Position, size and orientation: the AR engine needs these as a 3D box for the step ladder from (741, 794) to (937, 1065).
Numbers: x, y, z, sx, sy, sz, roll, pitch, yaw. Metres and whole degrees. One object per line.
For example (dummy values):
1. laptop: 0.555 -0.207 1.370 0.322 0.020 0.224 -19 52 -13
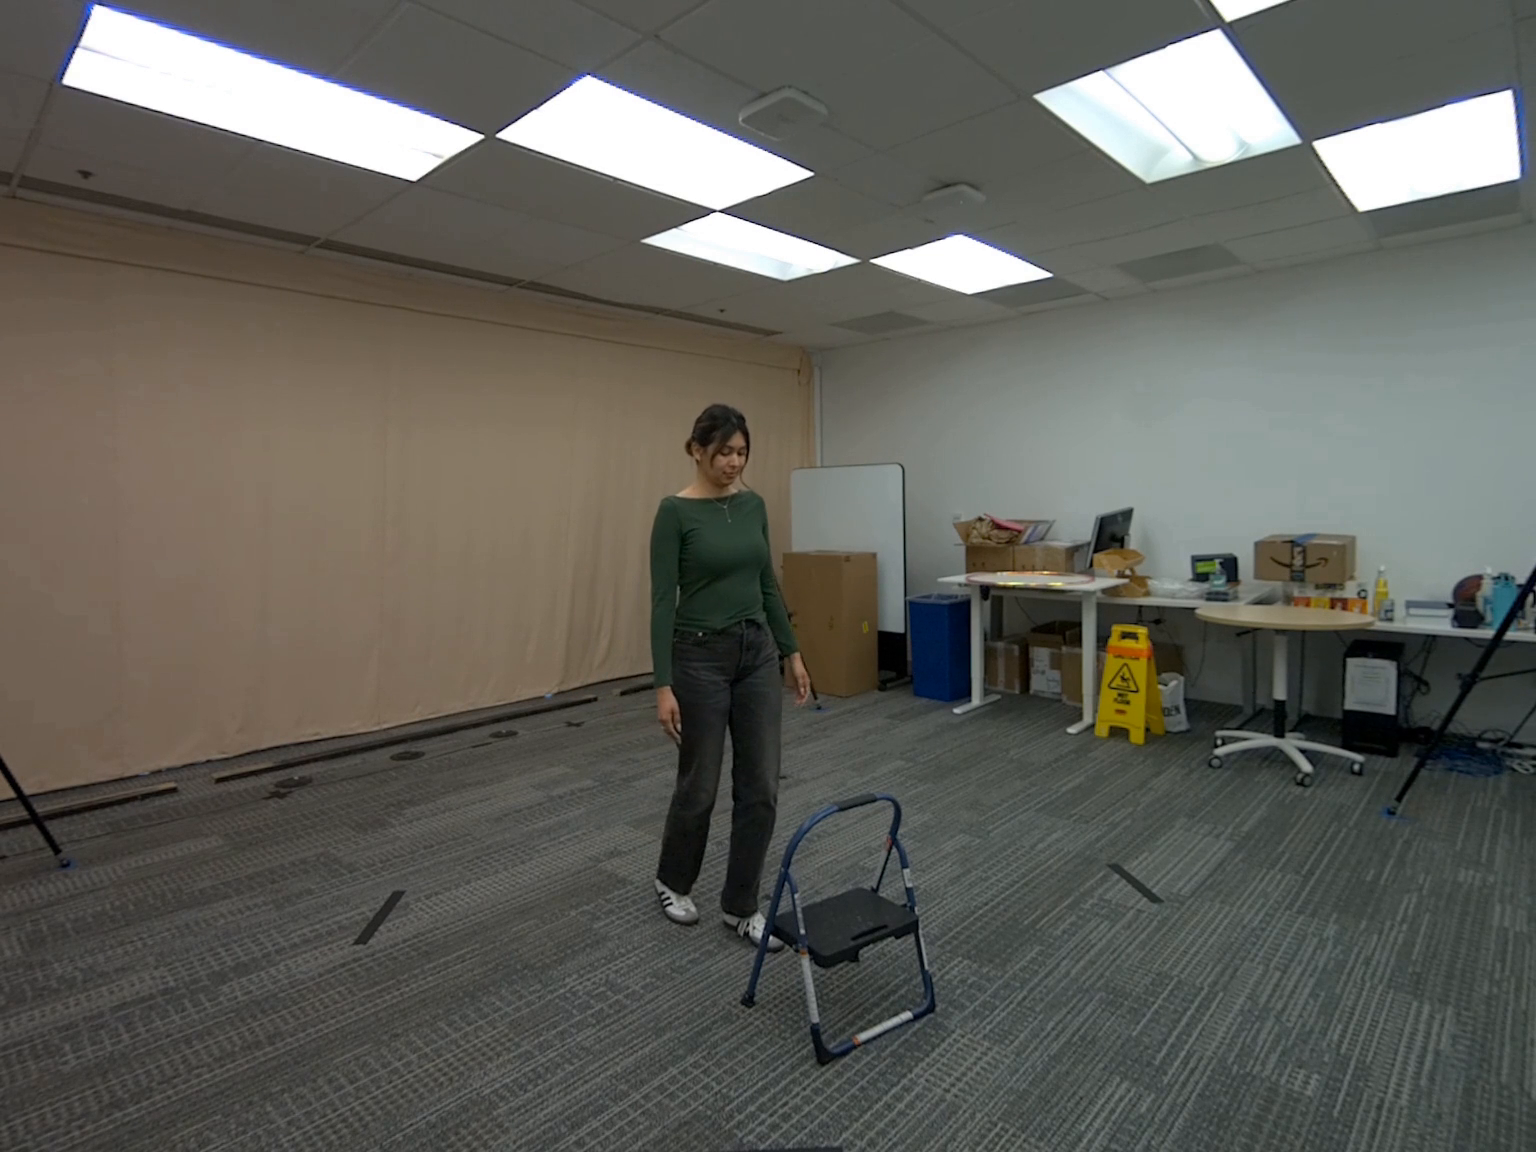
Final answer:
1. step ladder: 0.197 0.890 2.317 0.418 0.604 0.360 -4 5 -36
